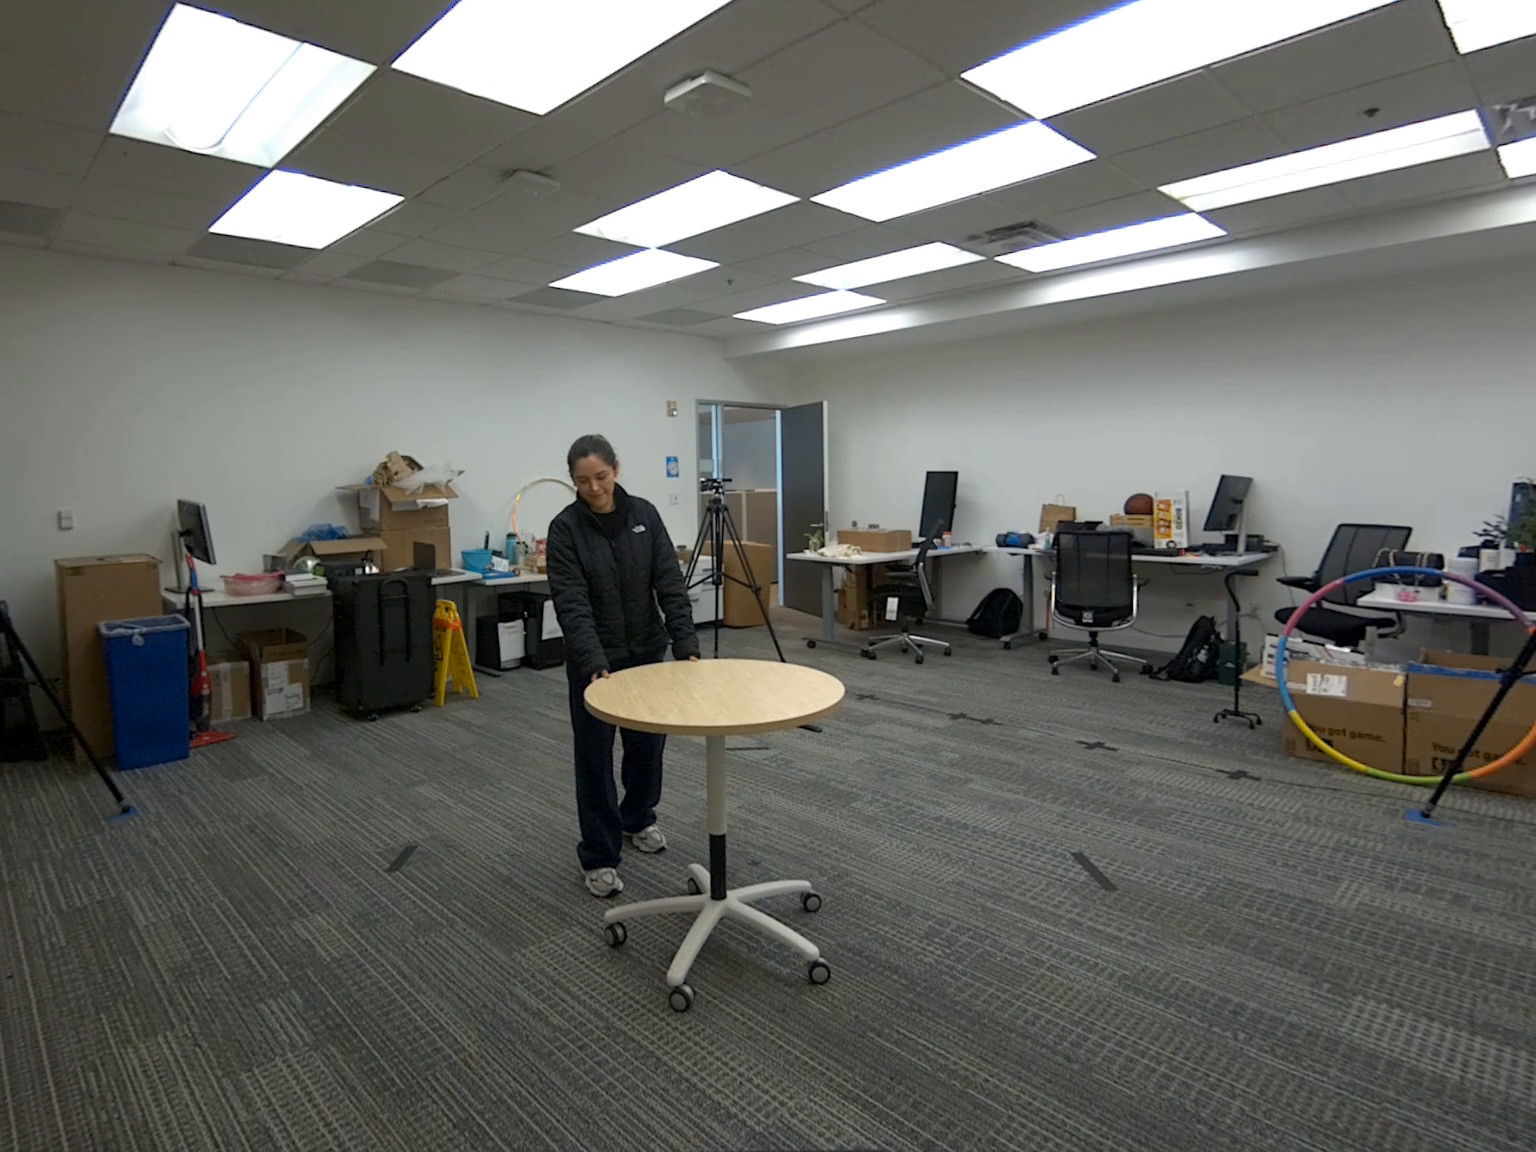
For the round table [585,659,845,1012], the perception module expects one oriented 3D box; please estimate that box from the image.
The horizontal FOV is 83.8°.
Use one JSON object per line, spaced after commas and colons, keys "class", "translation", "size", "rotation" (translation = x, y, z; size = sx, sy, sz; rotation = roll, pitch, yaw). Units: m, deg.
{"class": "round table", "translation": [-0.143, 0.714, 2.585], "size": [0.784, 0.783, 0.789], "rotation": [-1, 5, -2]}
